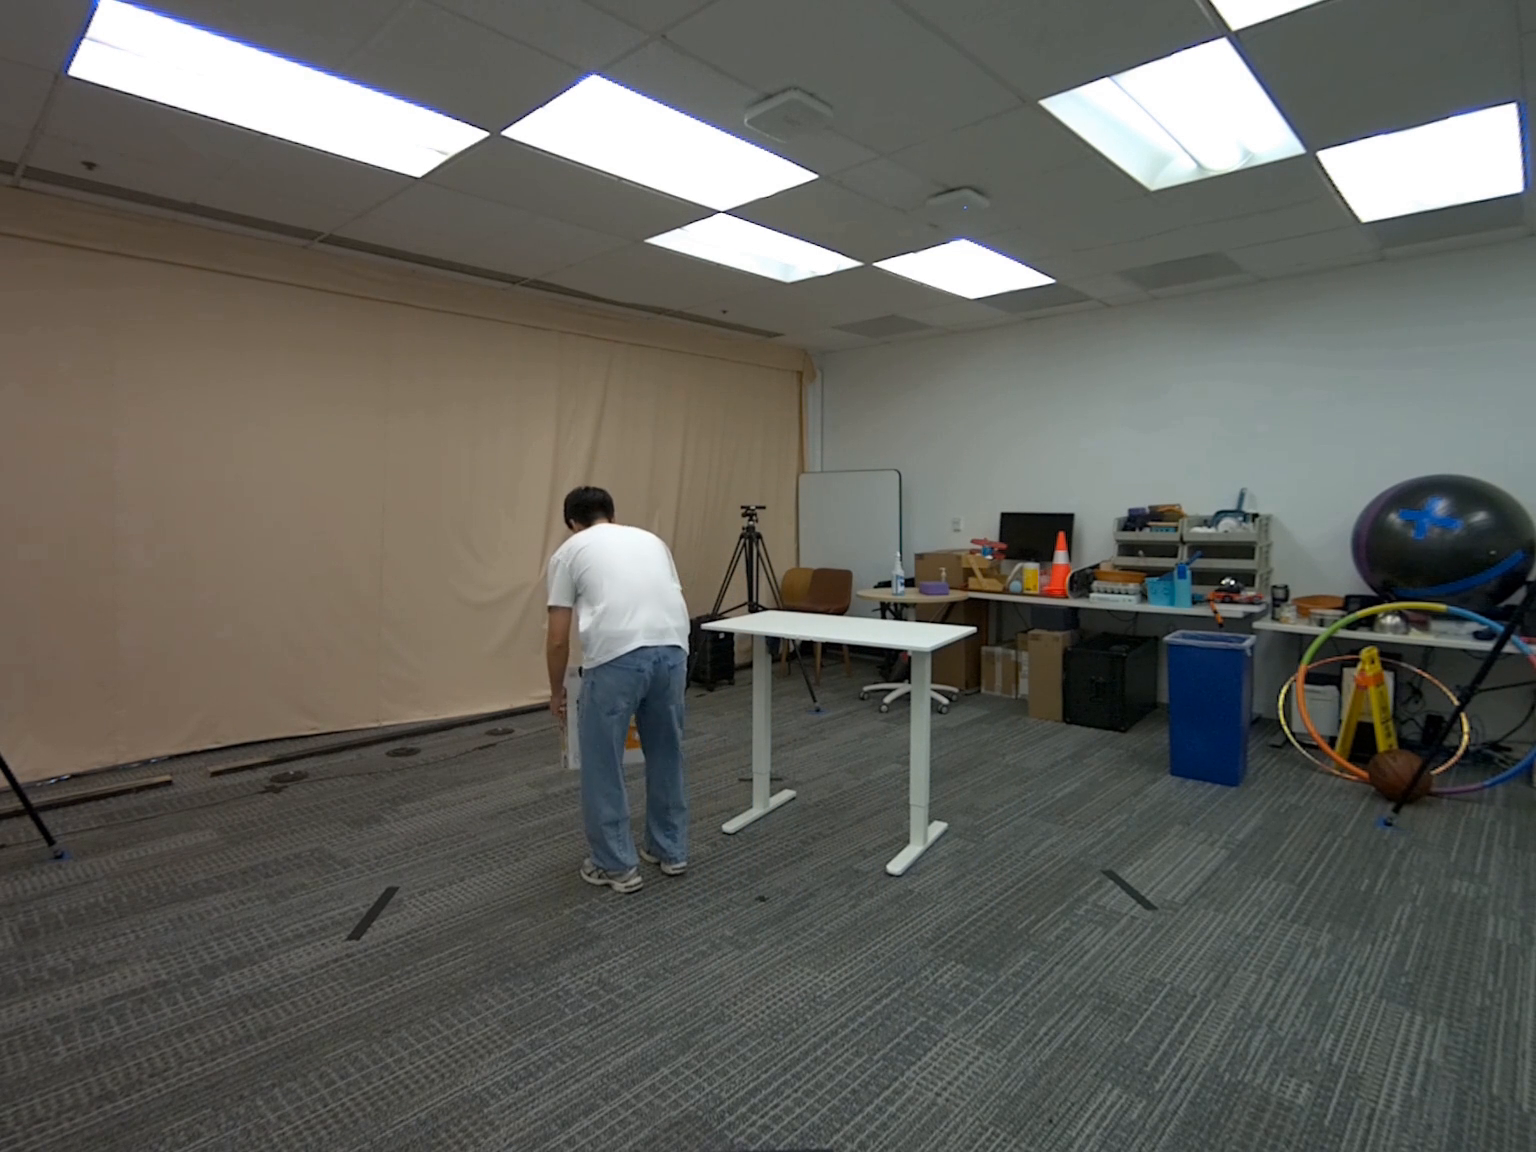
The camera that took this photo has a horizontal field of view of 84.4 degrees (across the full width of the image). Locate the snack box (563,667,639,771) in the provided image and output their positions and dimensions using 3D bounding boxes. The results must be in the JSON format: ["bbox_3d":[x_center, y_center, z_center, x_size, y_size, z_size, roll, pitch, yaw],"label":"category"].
[{"bbox_3d":[-0.668,0.560,3.429,0.333,0.407,0.209,-1,-7,-23],"label":"snack box"}]
